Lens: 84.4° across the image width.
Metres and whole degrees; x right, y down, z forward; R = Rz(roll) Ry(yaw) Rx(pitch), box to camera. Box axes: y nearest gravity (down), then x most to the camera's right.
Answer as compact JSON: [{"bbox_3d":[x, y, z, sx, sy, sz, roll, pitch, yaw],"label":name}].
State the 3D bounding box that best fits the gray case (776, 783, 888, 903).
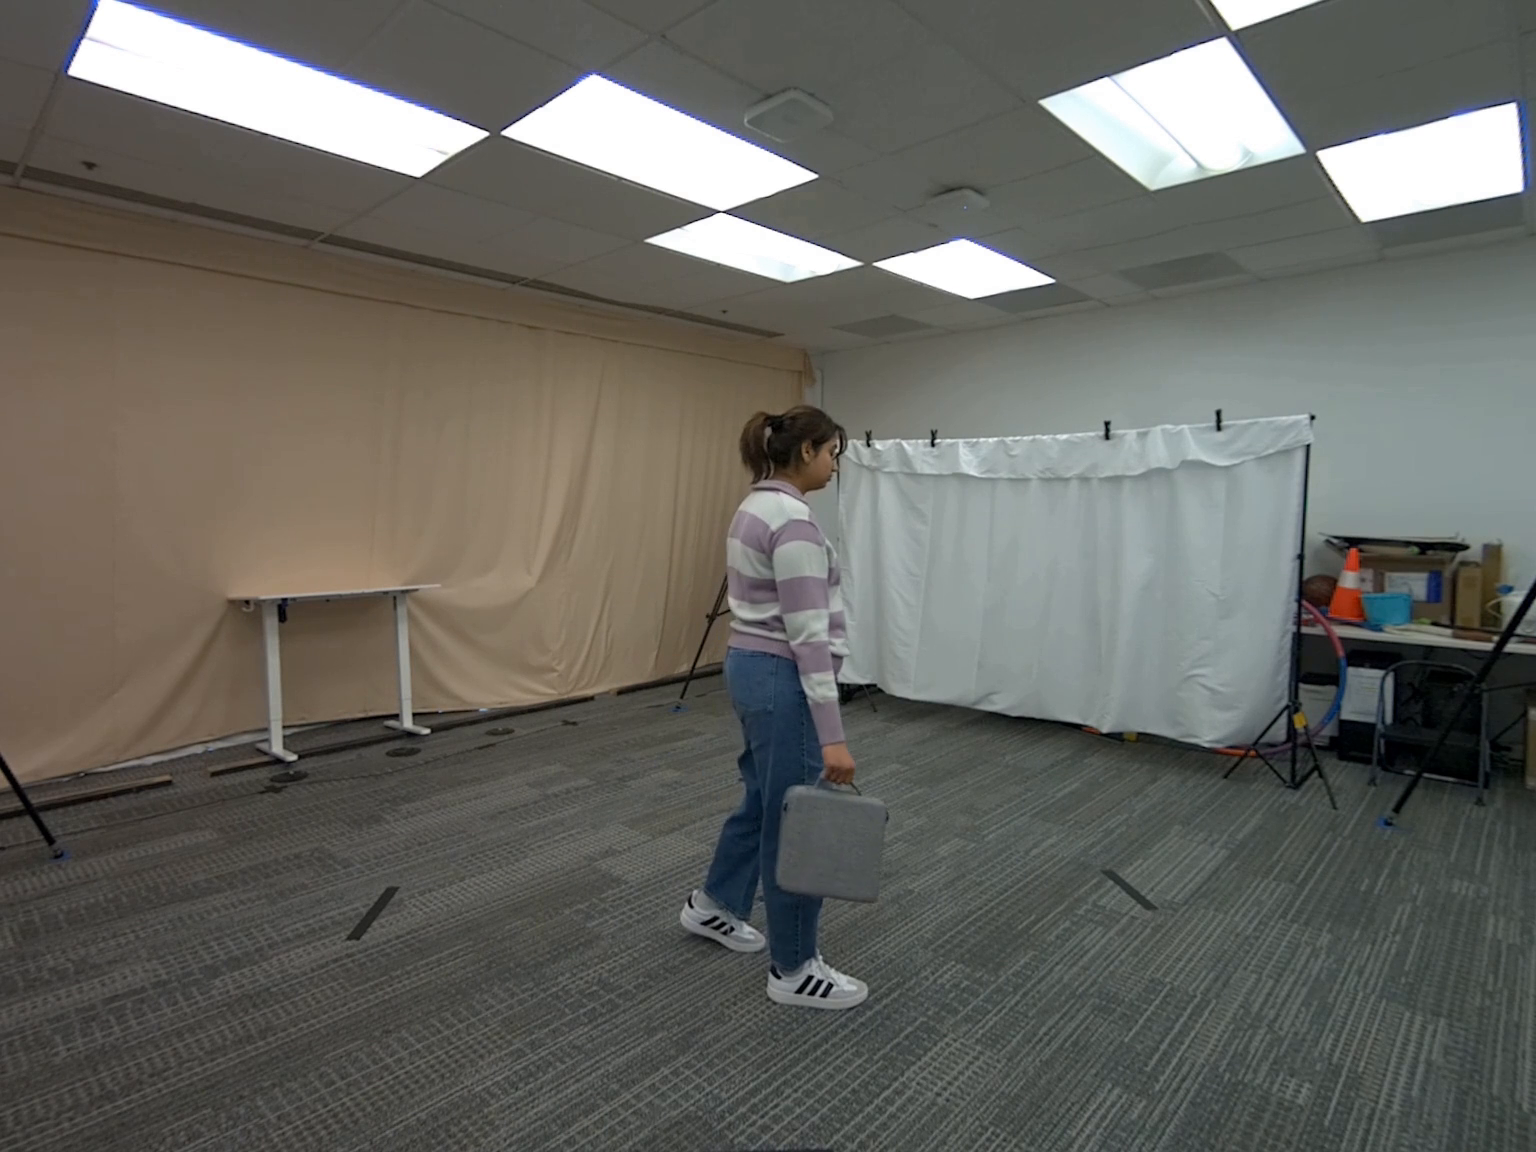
[{"bbox_3d":[0.168,0.664,2.115,0.257,0.262,0.104,7,-10,-1],"label":"gray case"}]
